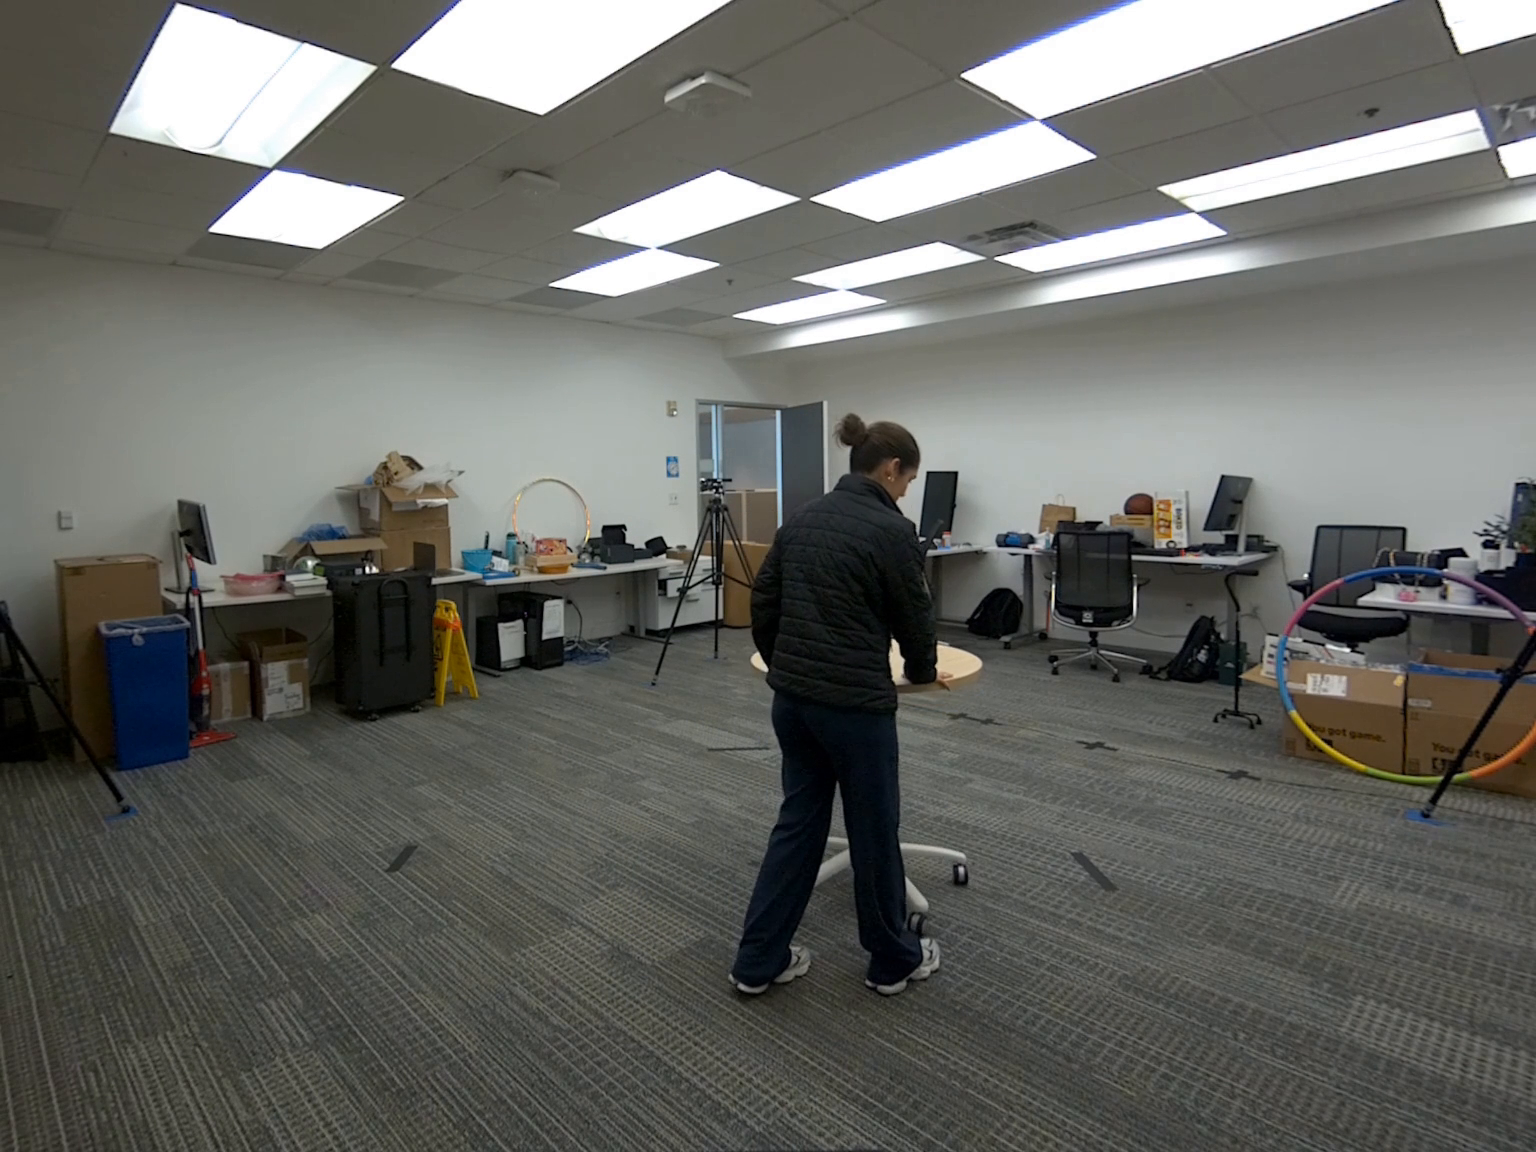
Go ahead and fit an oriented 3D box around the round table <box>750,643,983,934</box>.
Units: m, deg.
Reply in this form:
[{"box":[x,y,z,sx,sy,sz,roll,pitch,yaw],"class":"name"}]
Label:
[{"box":[0.333,0.669,2.911,0.784,0.784,0.789,-1,4,-2],"class":"round table"}]
